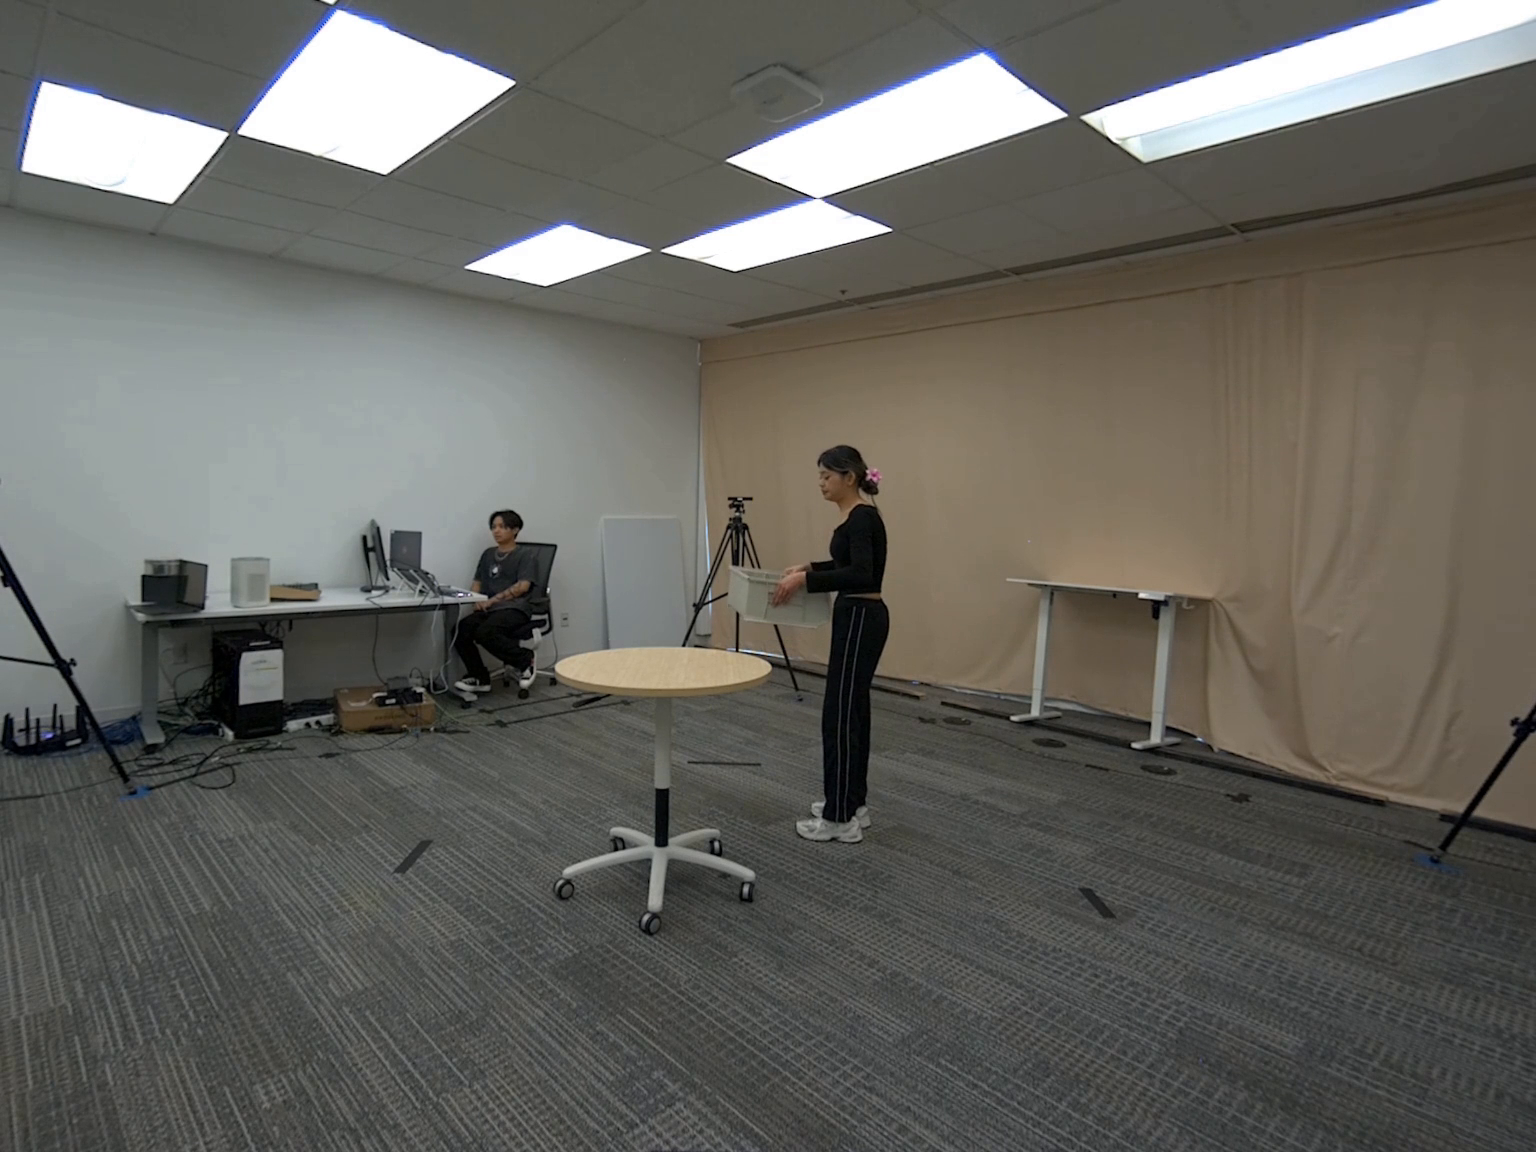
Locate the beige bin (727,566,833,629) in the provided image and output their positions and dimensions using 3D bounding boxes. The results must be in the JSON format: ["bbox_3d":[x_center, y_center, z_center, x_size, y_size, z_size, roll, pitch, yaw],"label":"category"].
[{"bbox_3d":[0.032,0.083,3.628,0.374,0.188,0.428,2,6,-12],"label":"beige bin"}]
